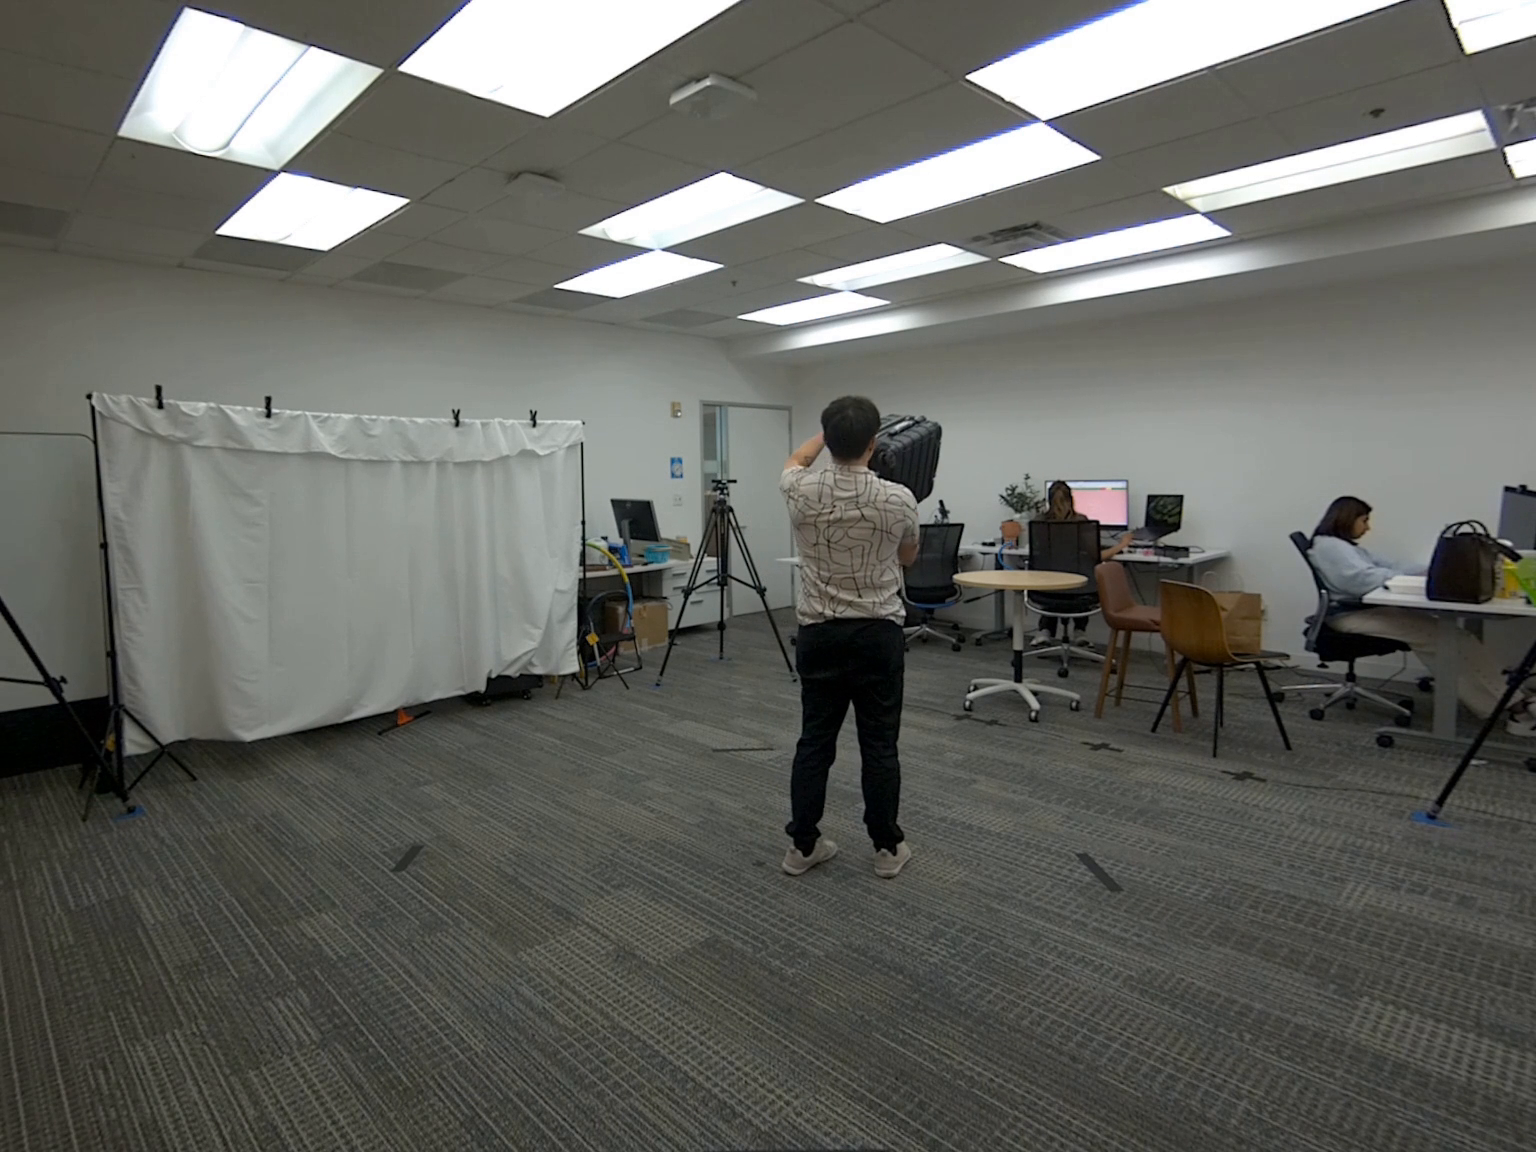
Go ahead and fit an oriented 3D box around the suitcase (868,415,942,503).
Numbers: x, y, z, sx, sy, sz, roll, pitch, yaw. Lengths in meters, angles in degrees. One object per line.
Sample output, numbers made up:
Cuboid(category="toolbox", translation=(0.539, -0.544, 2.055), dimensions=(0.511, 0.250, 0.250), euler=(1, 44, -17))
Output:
Cuboid(category="suitcase", translation=(0.479, -0.436, 3.433), dimensions=(0.256, 0.368, 0.543), euler=(16, 29, 30))
